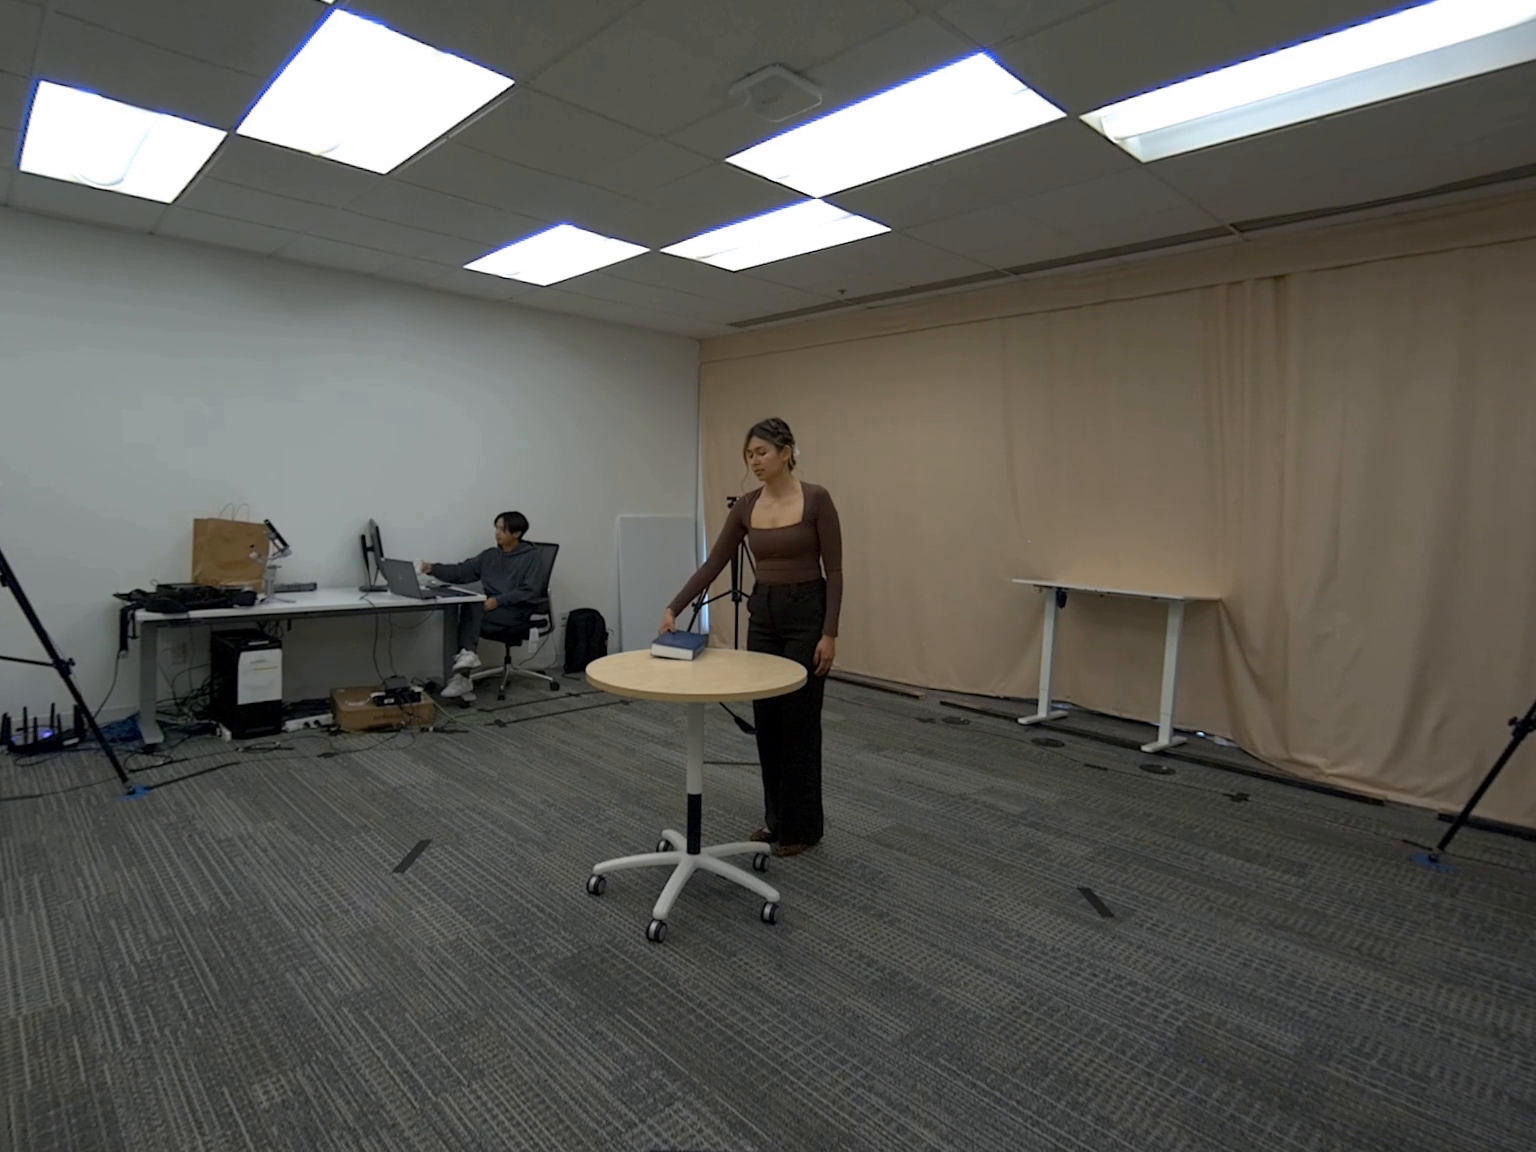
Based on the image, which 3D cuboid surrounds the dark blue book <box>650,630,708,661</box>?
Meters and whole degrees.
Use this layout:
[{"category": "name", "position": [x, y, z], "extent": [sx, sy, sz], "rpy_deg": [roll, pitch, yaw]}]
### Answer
[{"category": "dark blue book", "position": [-0.340, 0.261, 3.182], "extent": [0.165, 0.045, 0.244], "rpy_deg": [9, 10, 9]}]
